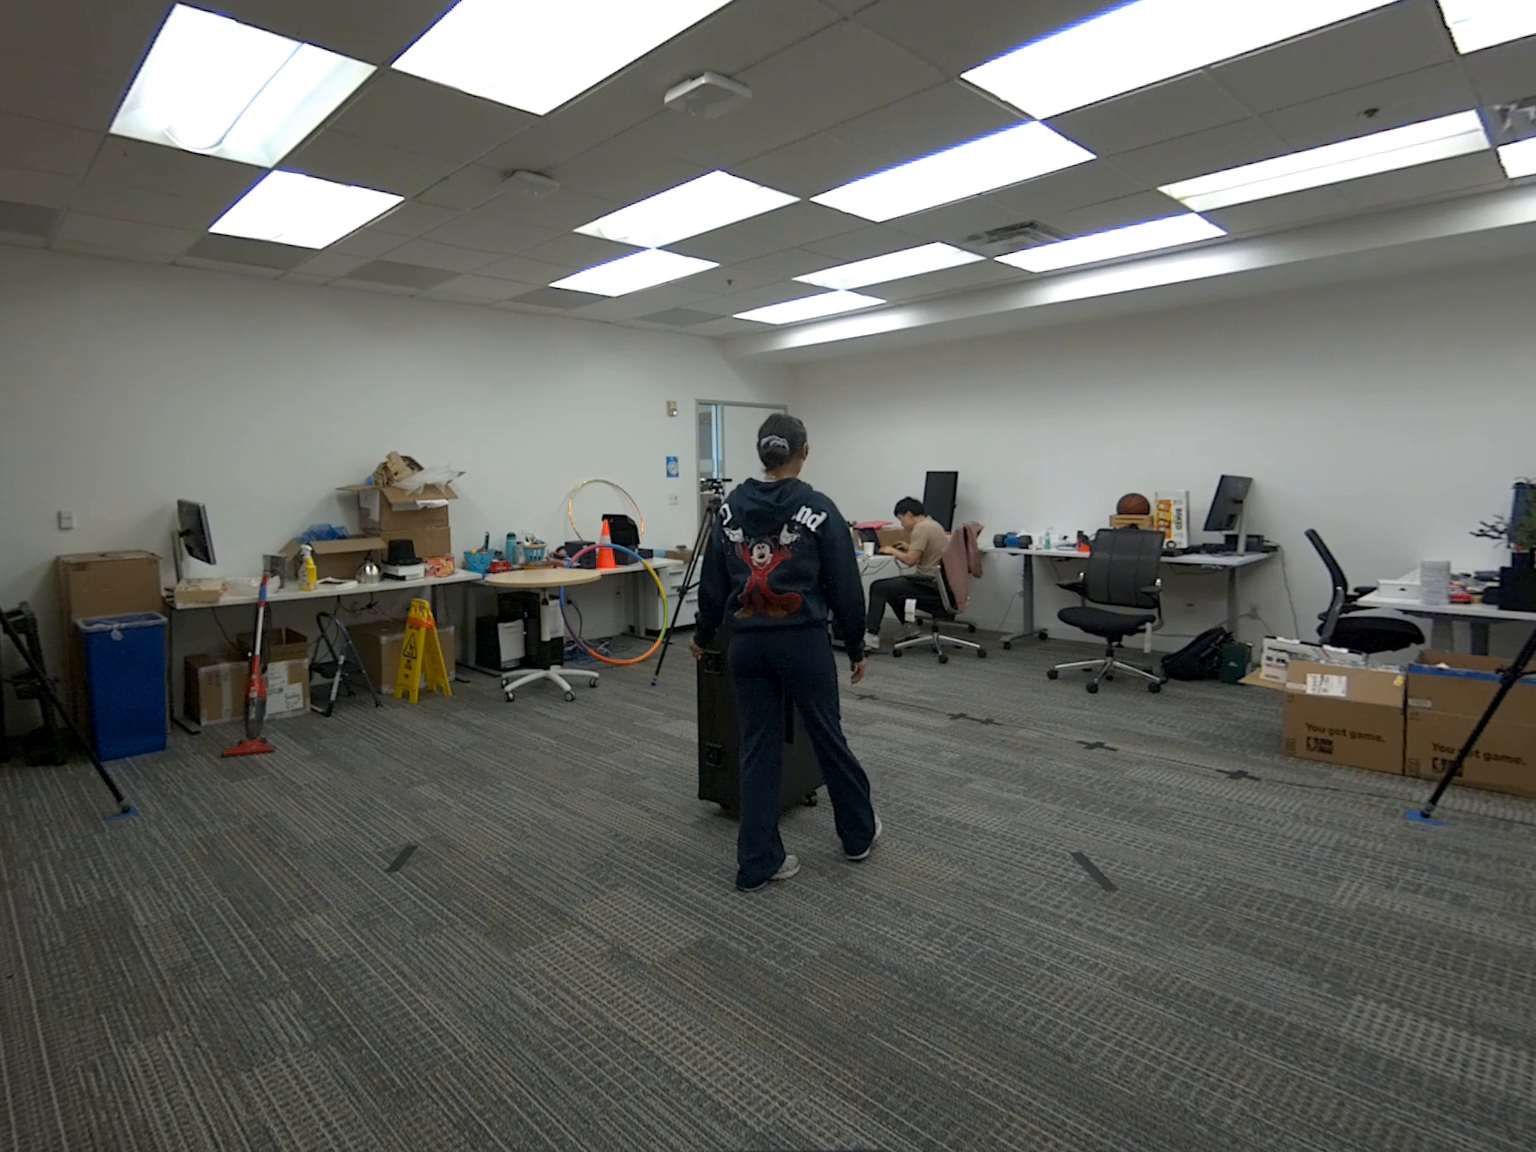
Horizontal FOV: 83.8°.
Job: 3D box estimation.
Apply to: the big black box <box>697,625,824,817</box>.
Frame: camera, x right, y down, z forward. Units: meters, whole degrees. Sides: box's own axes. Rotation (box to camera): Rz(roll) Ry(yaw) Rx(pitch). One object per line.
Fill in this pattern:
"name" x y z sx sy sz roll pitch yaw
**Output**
"big black box" -0.004 0.558 3.619 0.408 0.858 0.508 4 6 35
